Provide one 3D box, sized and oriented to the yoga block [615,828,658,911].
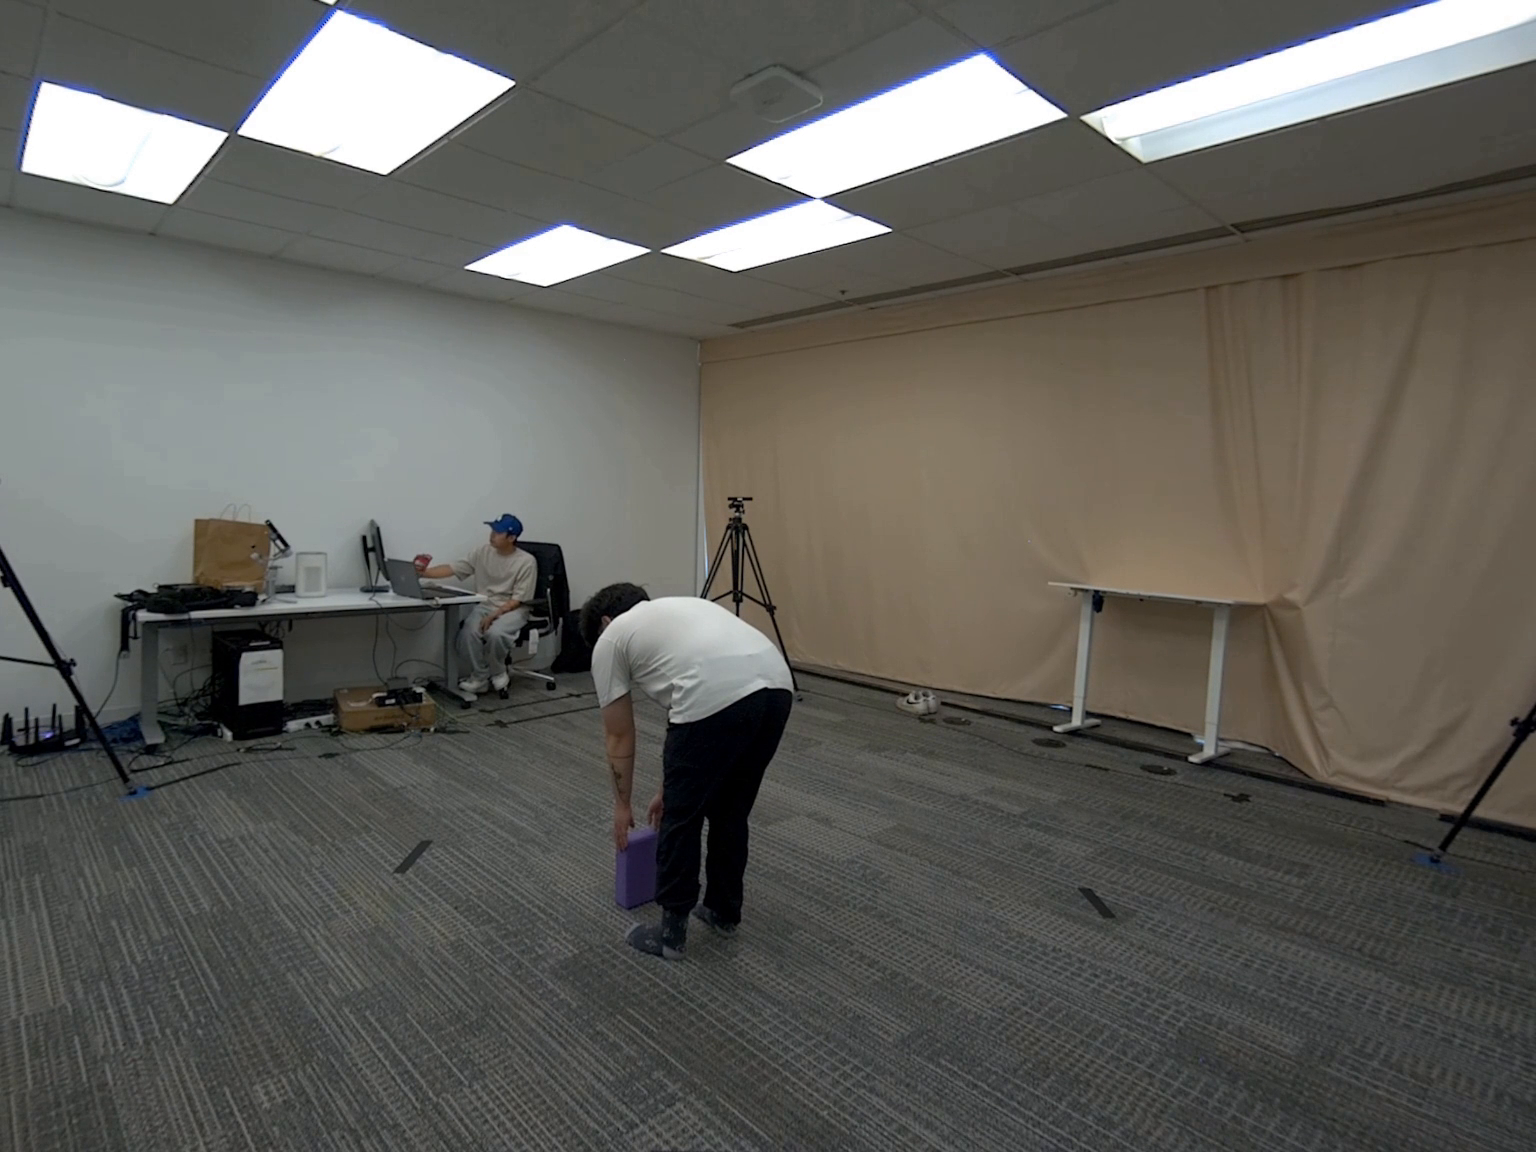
[{"bbox_3d":[-0.454,1.010,2.890,0.146,0.228,0.078,-4,8,-44],"label":"yoga block"}]
